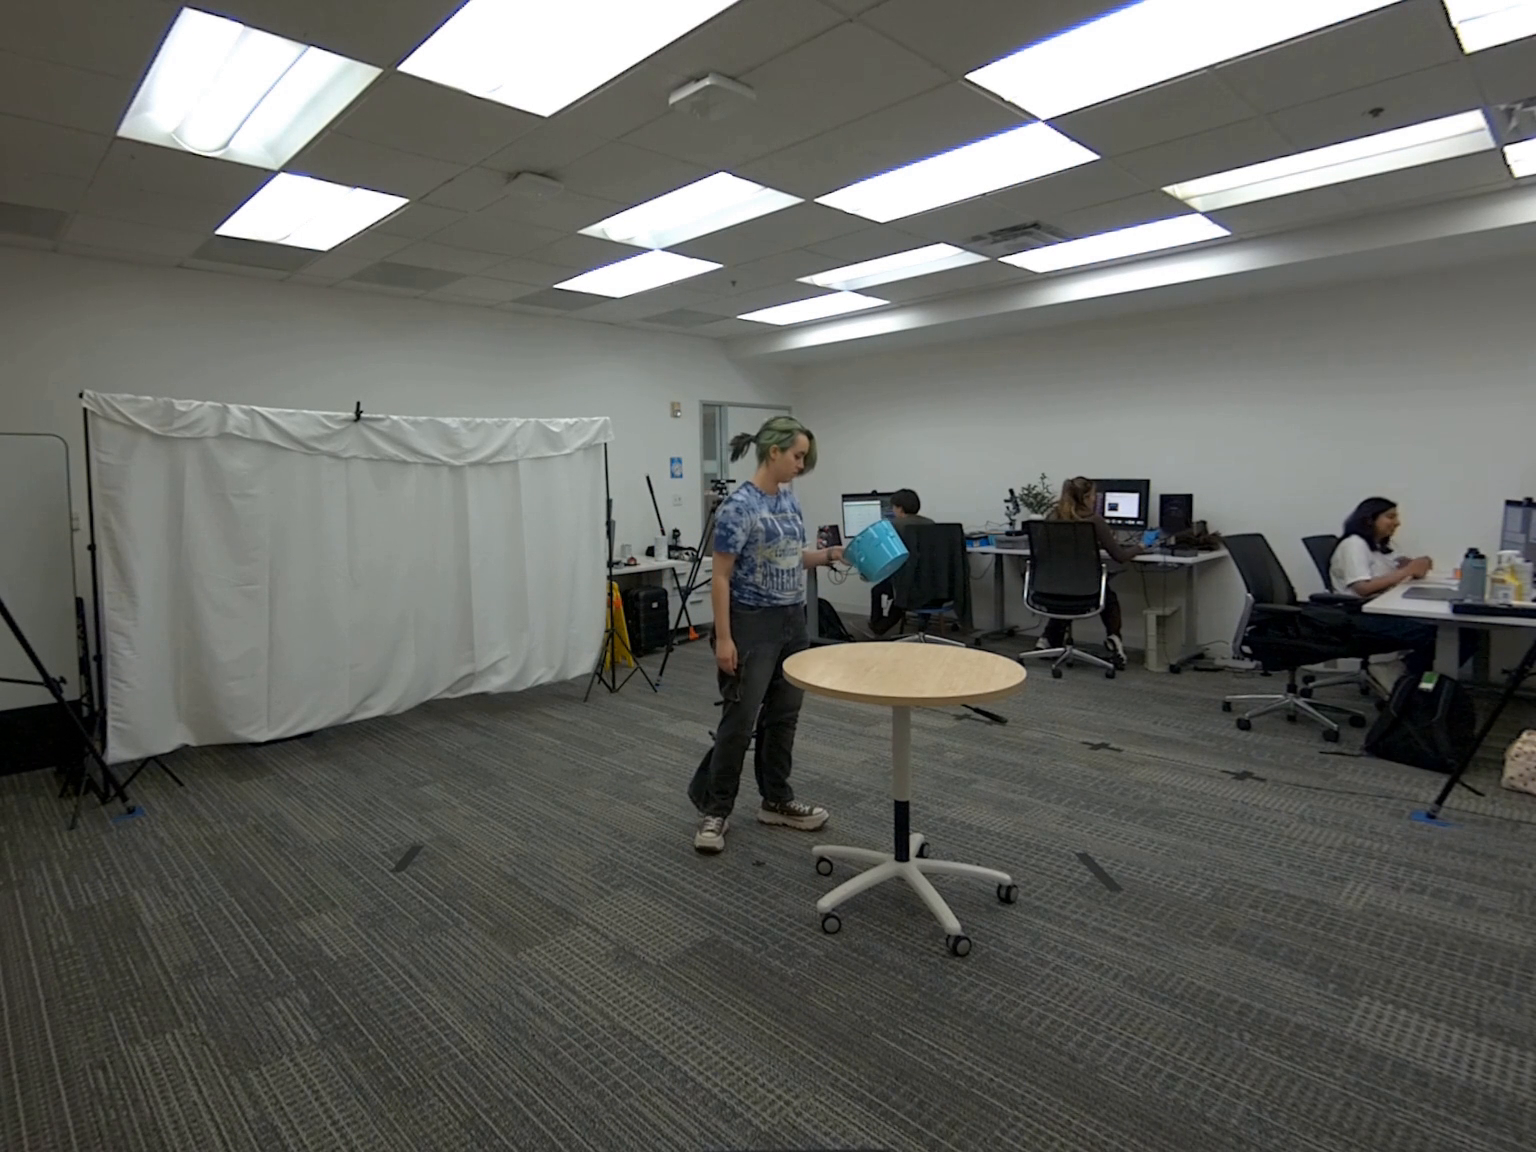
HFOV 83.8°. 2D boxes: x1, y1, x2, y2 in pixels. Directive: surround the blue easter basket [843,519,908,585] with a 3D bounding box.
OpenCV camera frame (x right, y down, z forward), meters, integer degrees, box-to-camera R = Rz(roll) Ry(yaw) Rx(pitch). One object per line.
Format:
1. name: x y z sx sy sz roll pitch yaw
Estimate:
1. blue easter basket: 0.415 -0.081 3.306 0.242 0.160 0.238 -31 -21 -16
